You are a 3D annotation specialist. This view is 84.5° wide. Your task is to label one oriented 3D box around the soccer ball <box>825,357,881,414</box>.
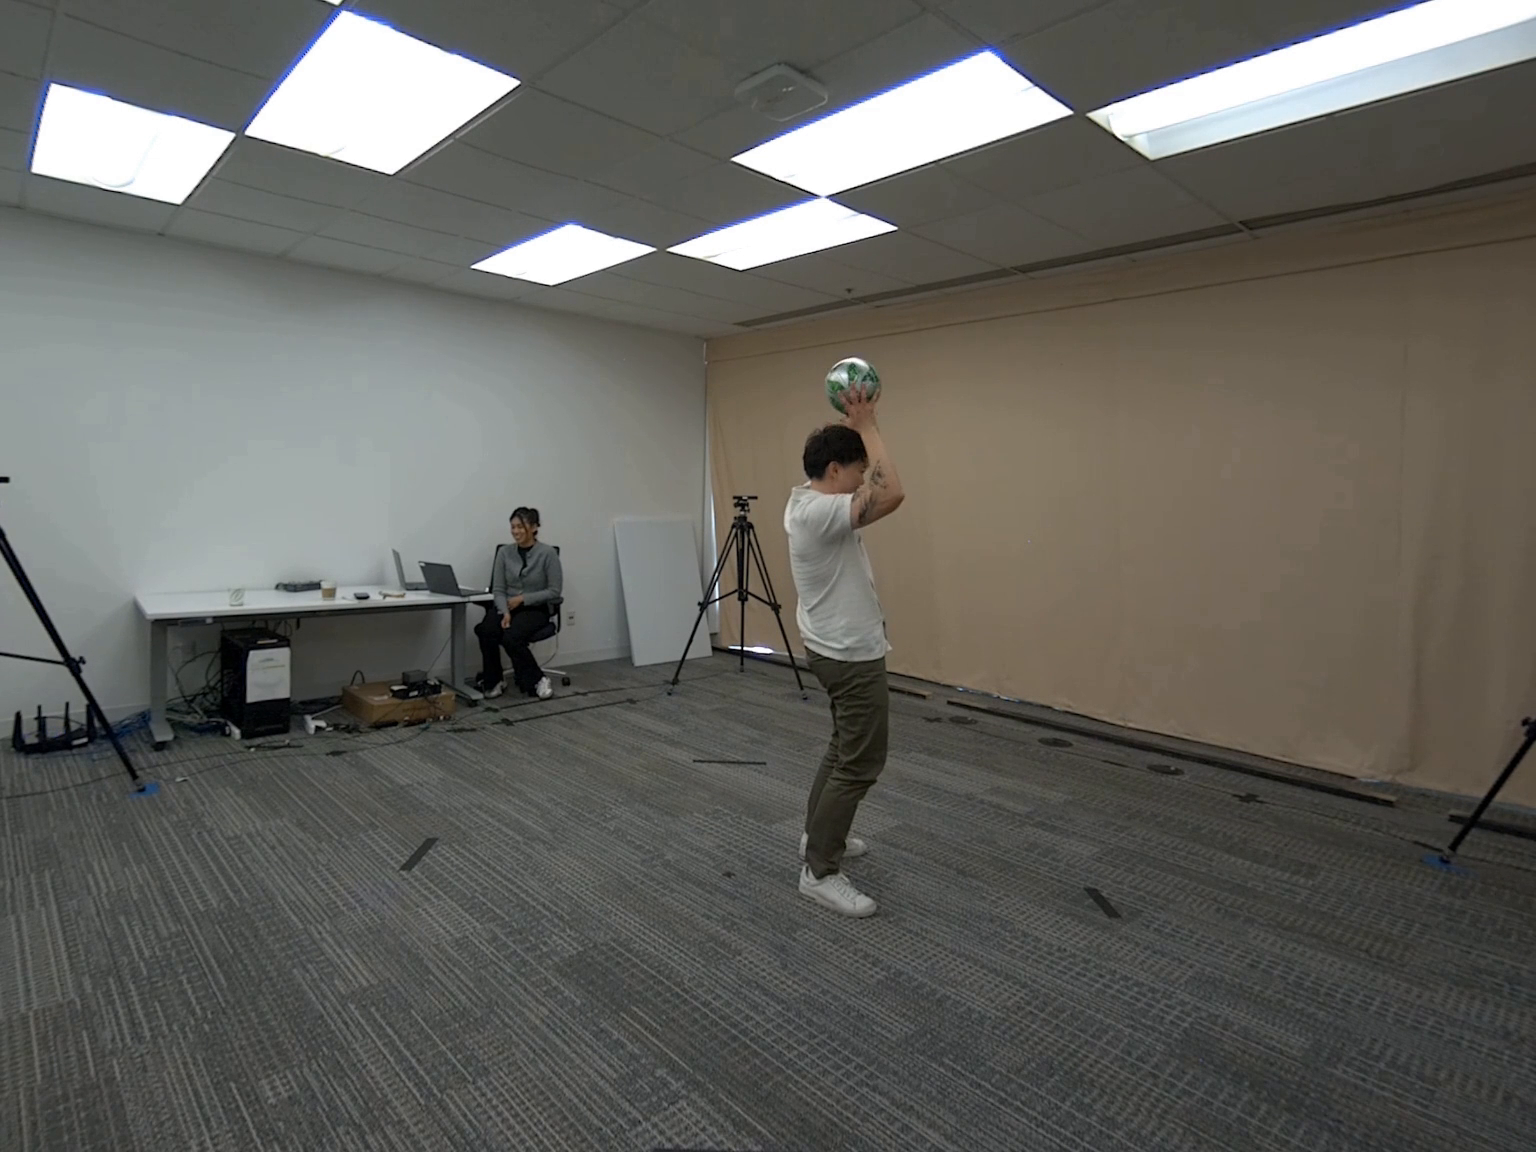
[{"bbox_3d":[0.269,-0.625,2.808,0.187,0.187,0.188,1,4,-1],"label":"soccer ball"}]
